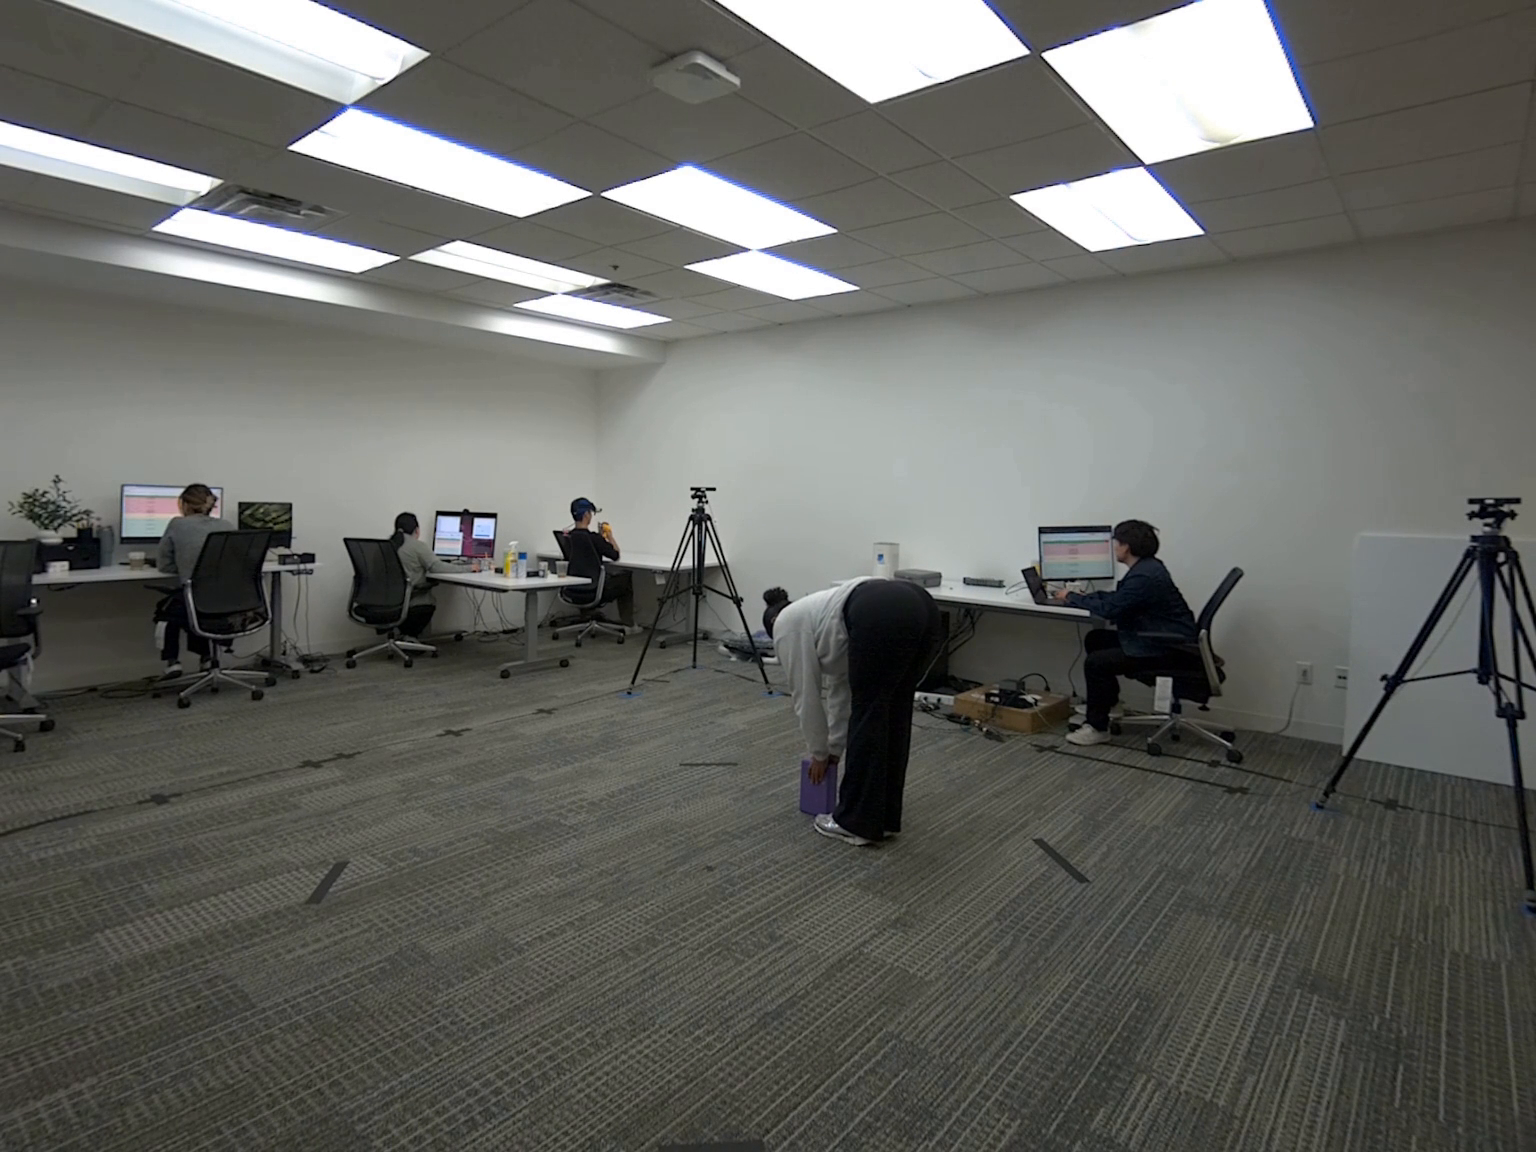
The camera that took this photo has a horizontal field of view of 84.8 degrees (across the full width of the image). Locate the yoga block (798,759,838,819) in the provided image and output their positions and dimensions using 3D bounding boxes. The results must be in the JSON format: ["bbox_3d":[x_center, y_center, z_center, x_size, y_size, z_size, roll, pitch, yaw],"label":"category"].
[{"bbox_3d":[0.207,0.906,3.661,0.154,0.229,0.074,4,3,39],"label":"yoga block"}]
